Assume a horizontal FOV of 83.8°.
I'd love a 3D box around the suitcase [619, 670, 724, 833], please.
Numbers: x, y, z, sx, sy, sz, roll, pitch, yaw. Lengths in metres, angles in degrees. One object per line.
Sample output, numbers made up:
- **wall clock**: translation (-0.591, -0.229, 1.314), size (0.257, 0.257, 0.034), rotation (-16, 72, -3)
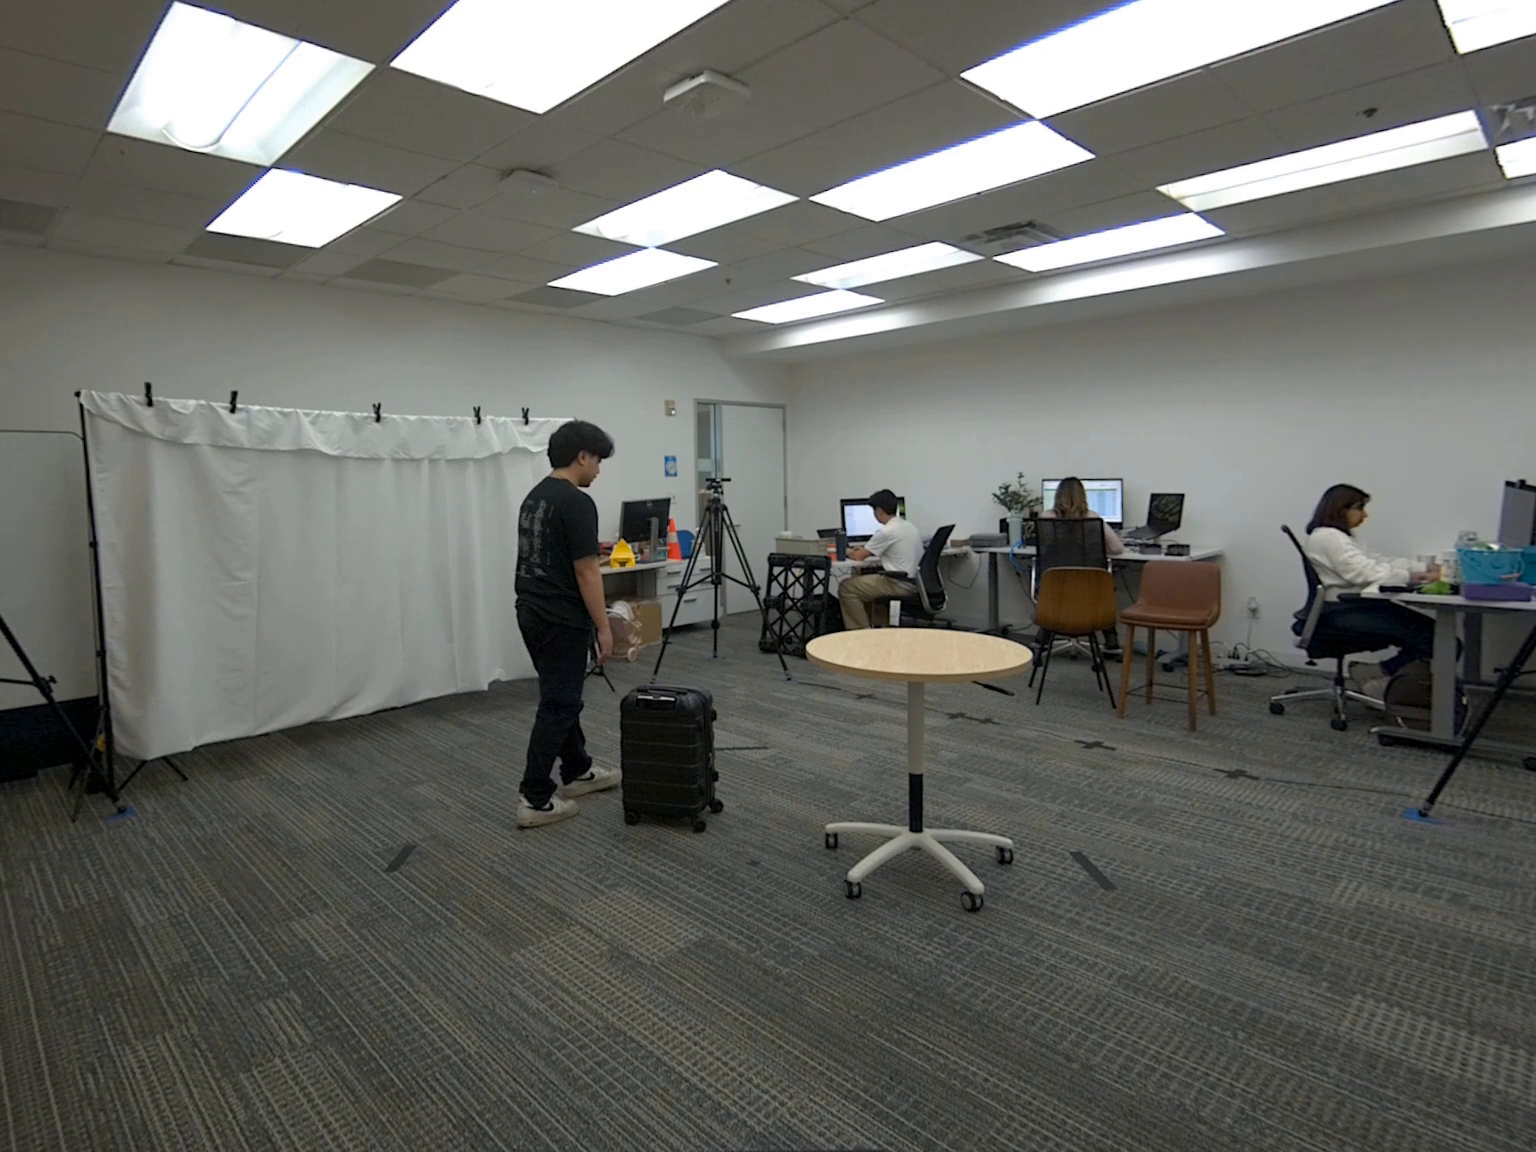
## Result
- **suitcase**: translation (-0.411, 0.731, 3.527), size (0.382, 0.548, 0.245), rotation (0, 4, 18)
